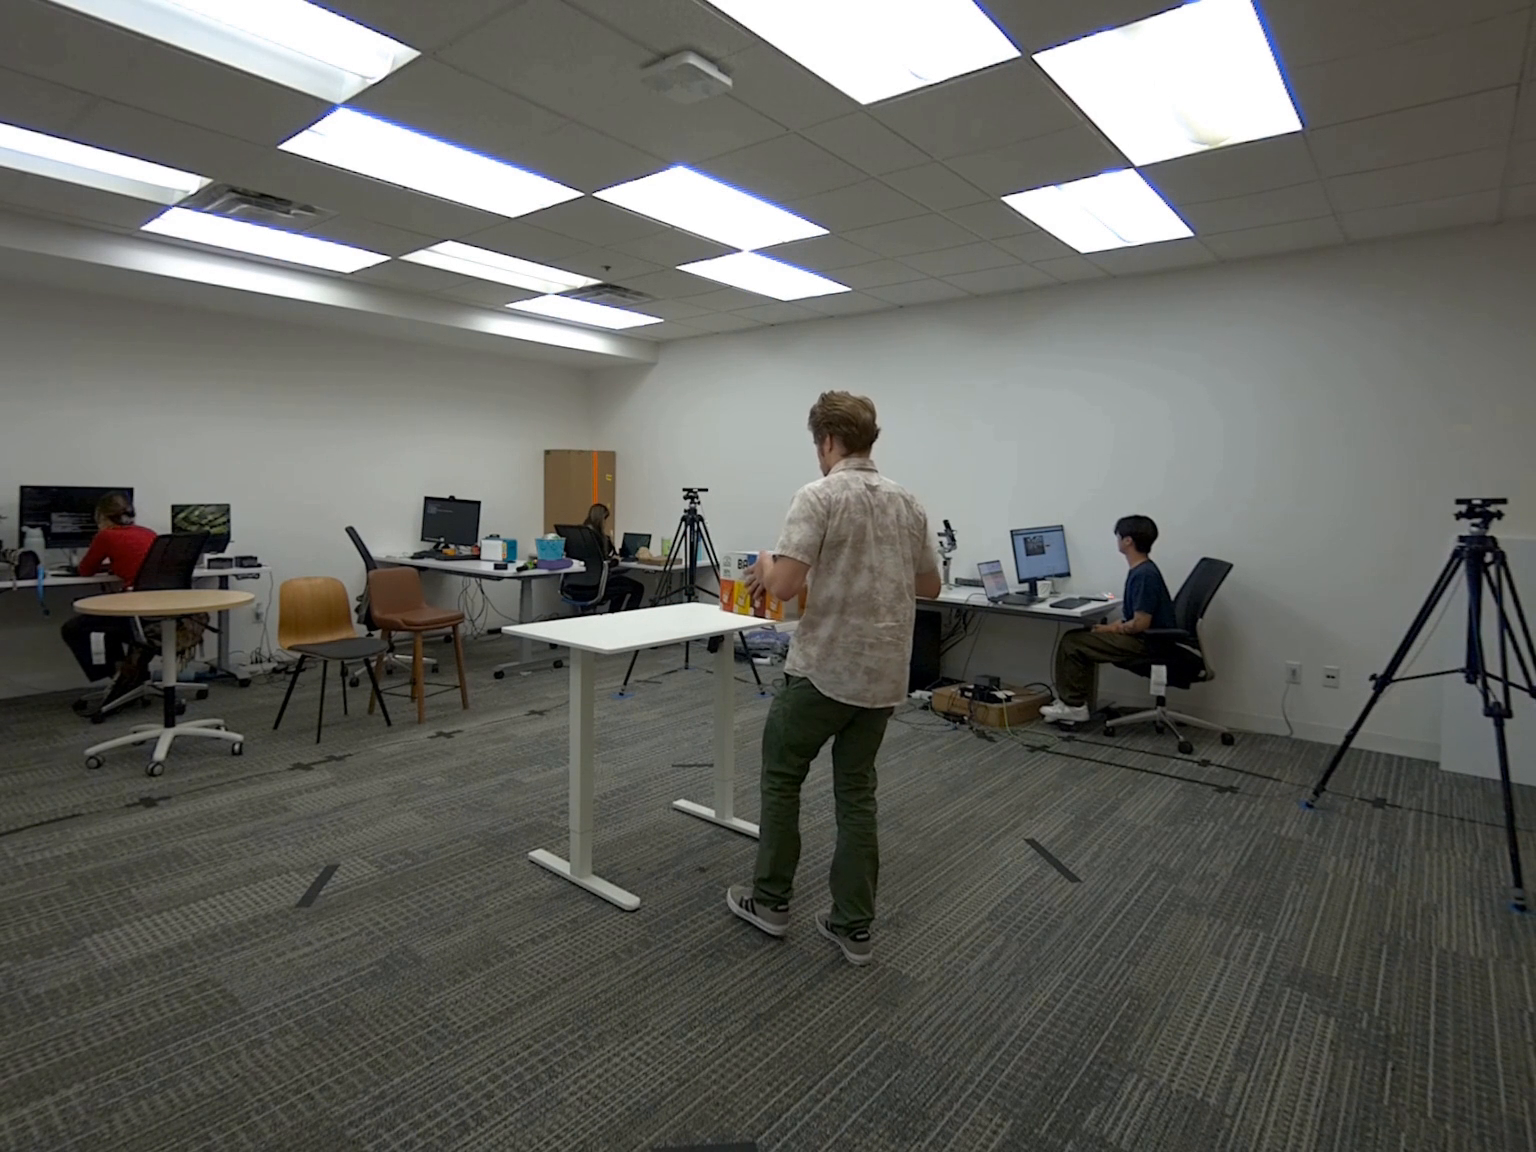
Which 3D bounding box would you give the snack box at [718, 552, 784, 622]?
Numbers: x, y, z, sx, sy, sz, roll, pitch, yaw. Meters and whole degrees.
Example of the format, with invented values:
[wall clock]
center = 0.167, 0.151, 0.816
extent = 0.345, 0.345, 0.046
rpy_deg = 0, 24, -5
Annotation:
[snack box]
center = 0.083, 0.023, 2.915
extent = 0.393, 0.205, 0.352
rpy_deg = -2, 5, -38
